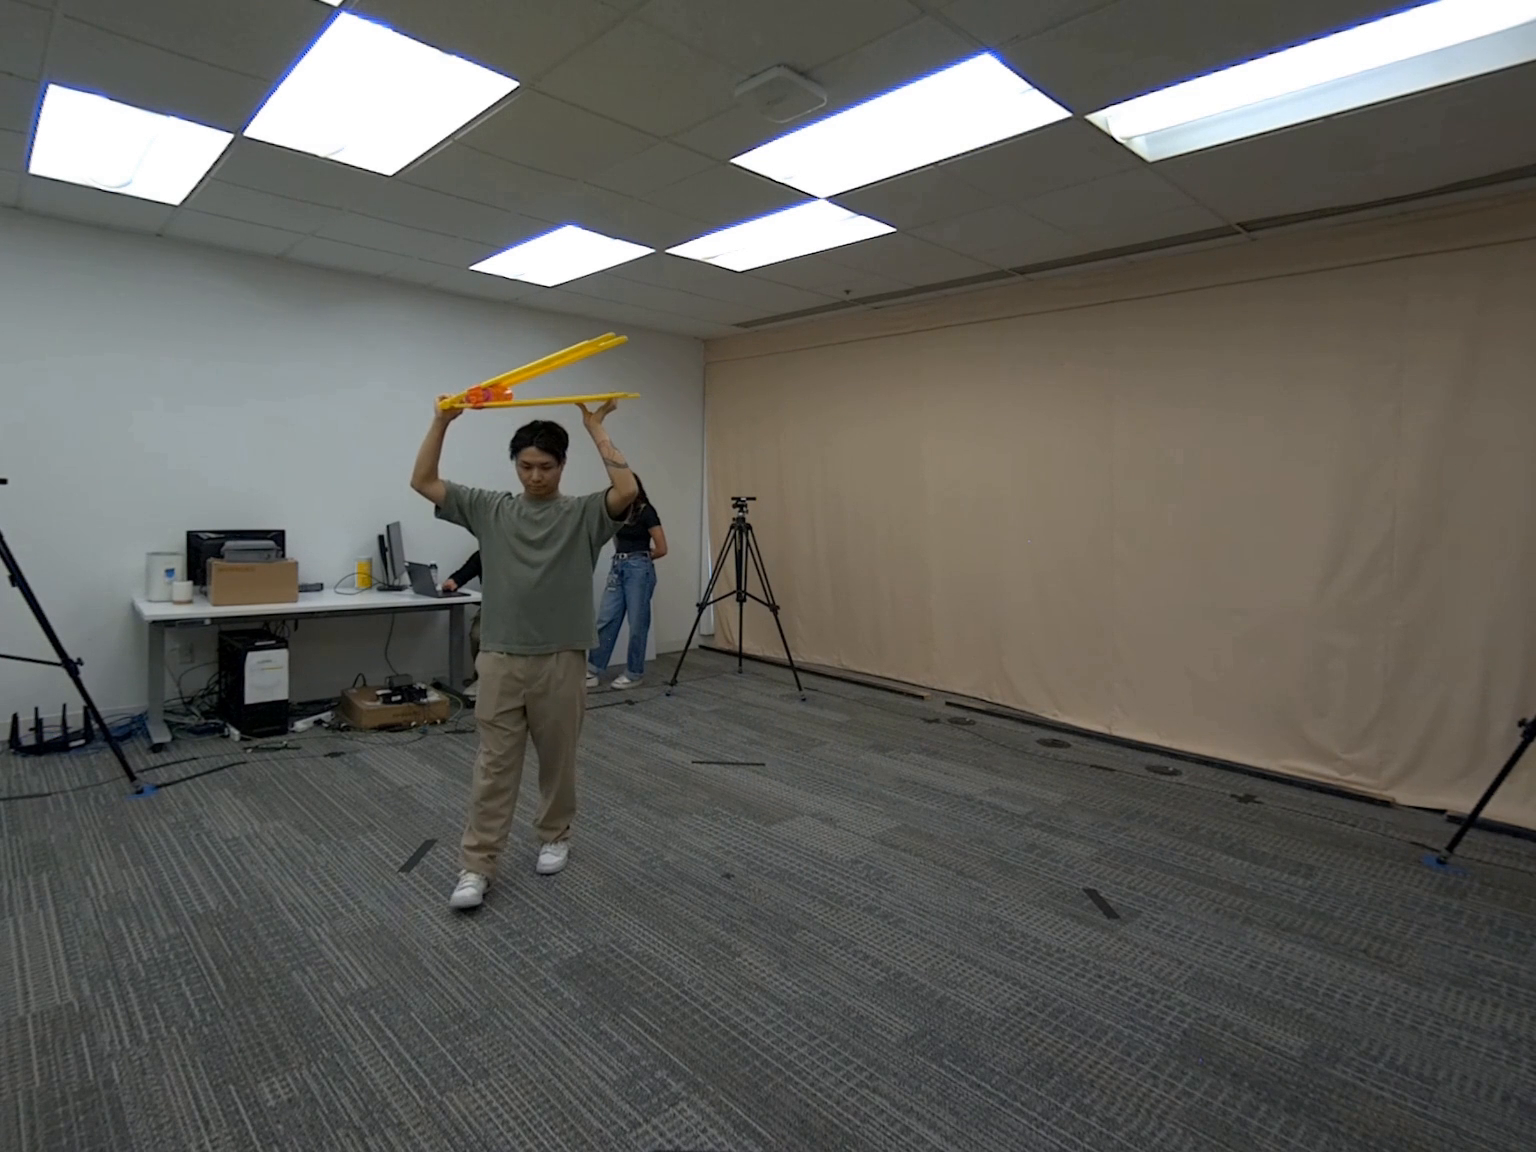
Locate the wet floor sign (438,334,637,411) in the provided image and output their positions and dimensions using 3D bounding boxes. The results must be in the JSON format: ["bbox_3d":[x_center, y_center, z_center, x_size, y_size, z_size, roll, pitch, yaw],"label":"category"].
[{"bbox_3d":[-0.817,-0.654,2.913,0.648,0.287,0.284,-8,12,4],"label":"wet floor sign"}]
